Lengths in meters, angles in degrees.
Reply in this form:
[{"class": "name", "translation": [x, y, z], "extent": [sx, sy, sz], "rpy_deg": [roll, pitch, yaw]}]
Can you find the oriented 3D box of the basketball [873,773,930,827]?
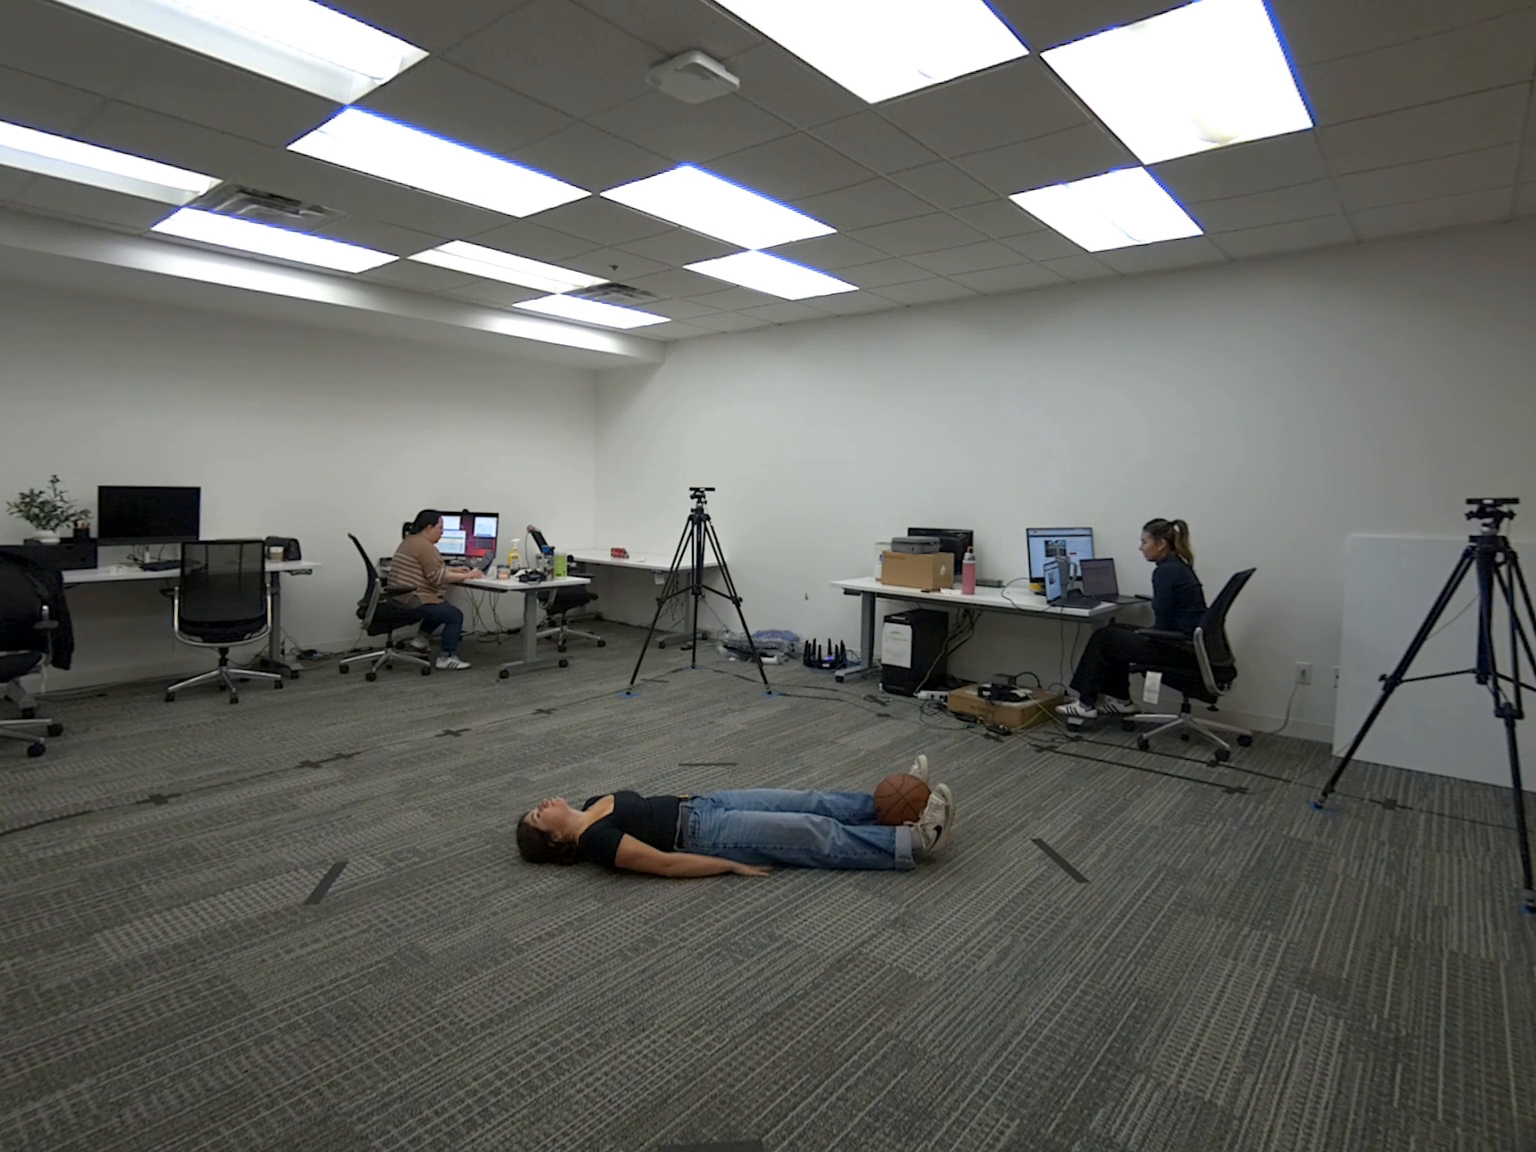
[{"class": "basketball", "translation": [0.519, 0.882, 3.325], "extent": [0.235, 0.235, 0.237], "rpy_deg": [1, 4, -2]}]
